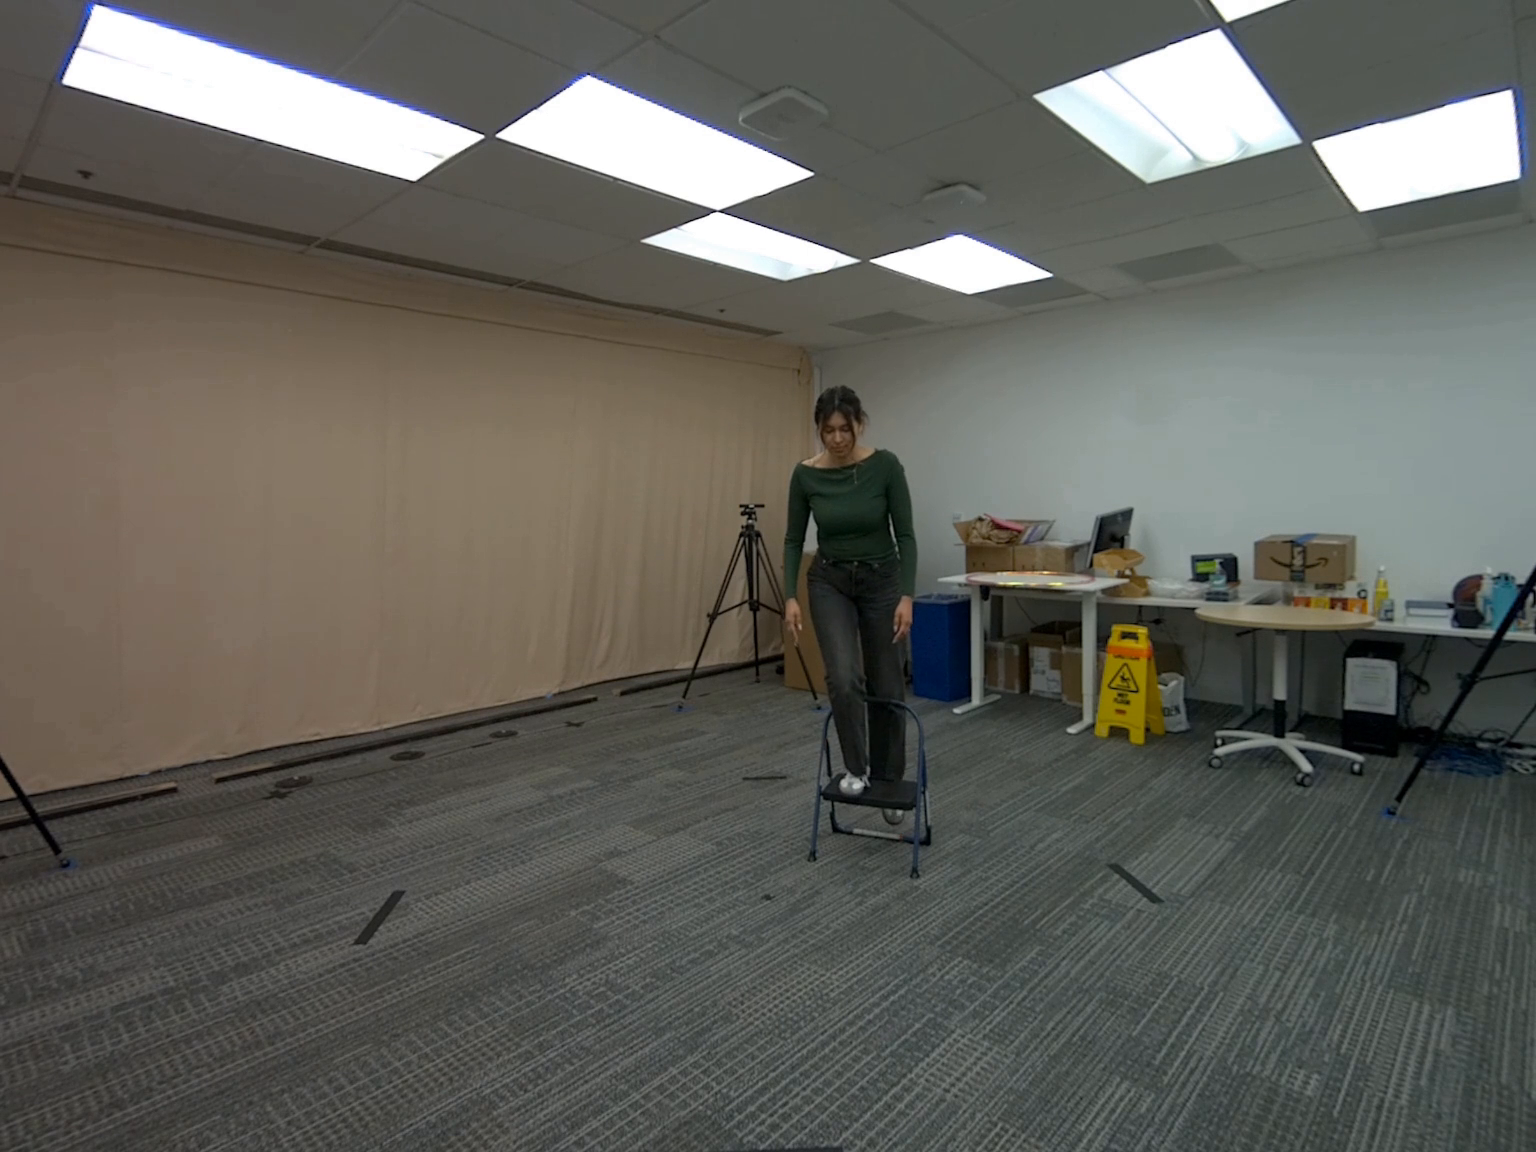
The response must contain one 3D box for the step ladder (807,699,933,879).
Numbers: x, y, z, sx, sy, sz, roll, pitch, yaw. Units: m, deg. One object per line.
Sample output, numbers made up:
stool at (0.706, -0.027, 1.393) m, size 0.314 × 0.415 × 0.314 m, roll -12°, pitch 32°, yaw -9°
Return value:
step ladder at (0.414, 0.799, 3.336) m, size 0.440 × 0.605 × 0.342 m, roll 0°, pitch 3°, yaw 21°
